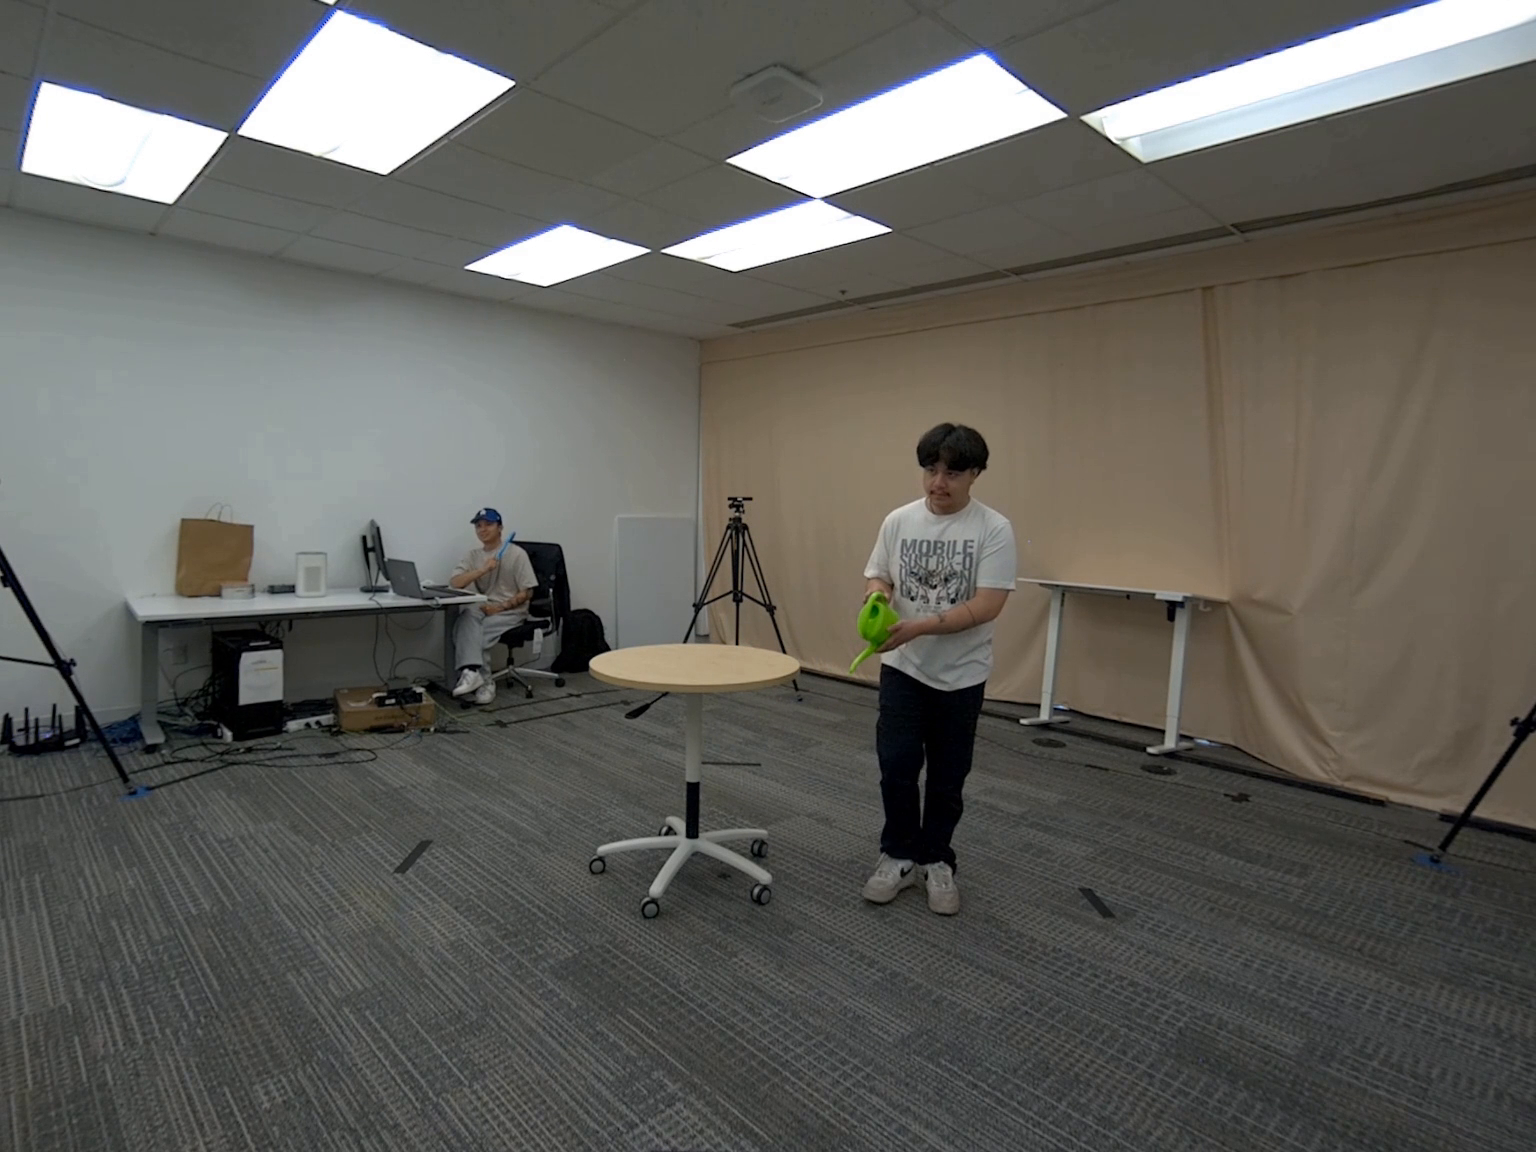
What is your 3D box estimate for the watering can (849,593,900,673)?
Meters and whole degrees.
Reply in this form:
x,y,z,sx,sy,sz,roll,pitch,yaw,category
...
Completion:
x,y,z,sx,sy,sz,roll,pitch,yaw,category
0.327,0.195,2.736,0.101,0.278,0.171,24,-4,37,watering can
